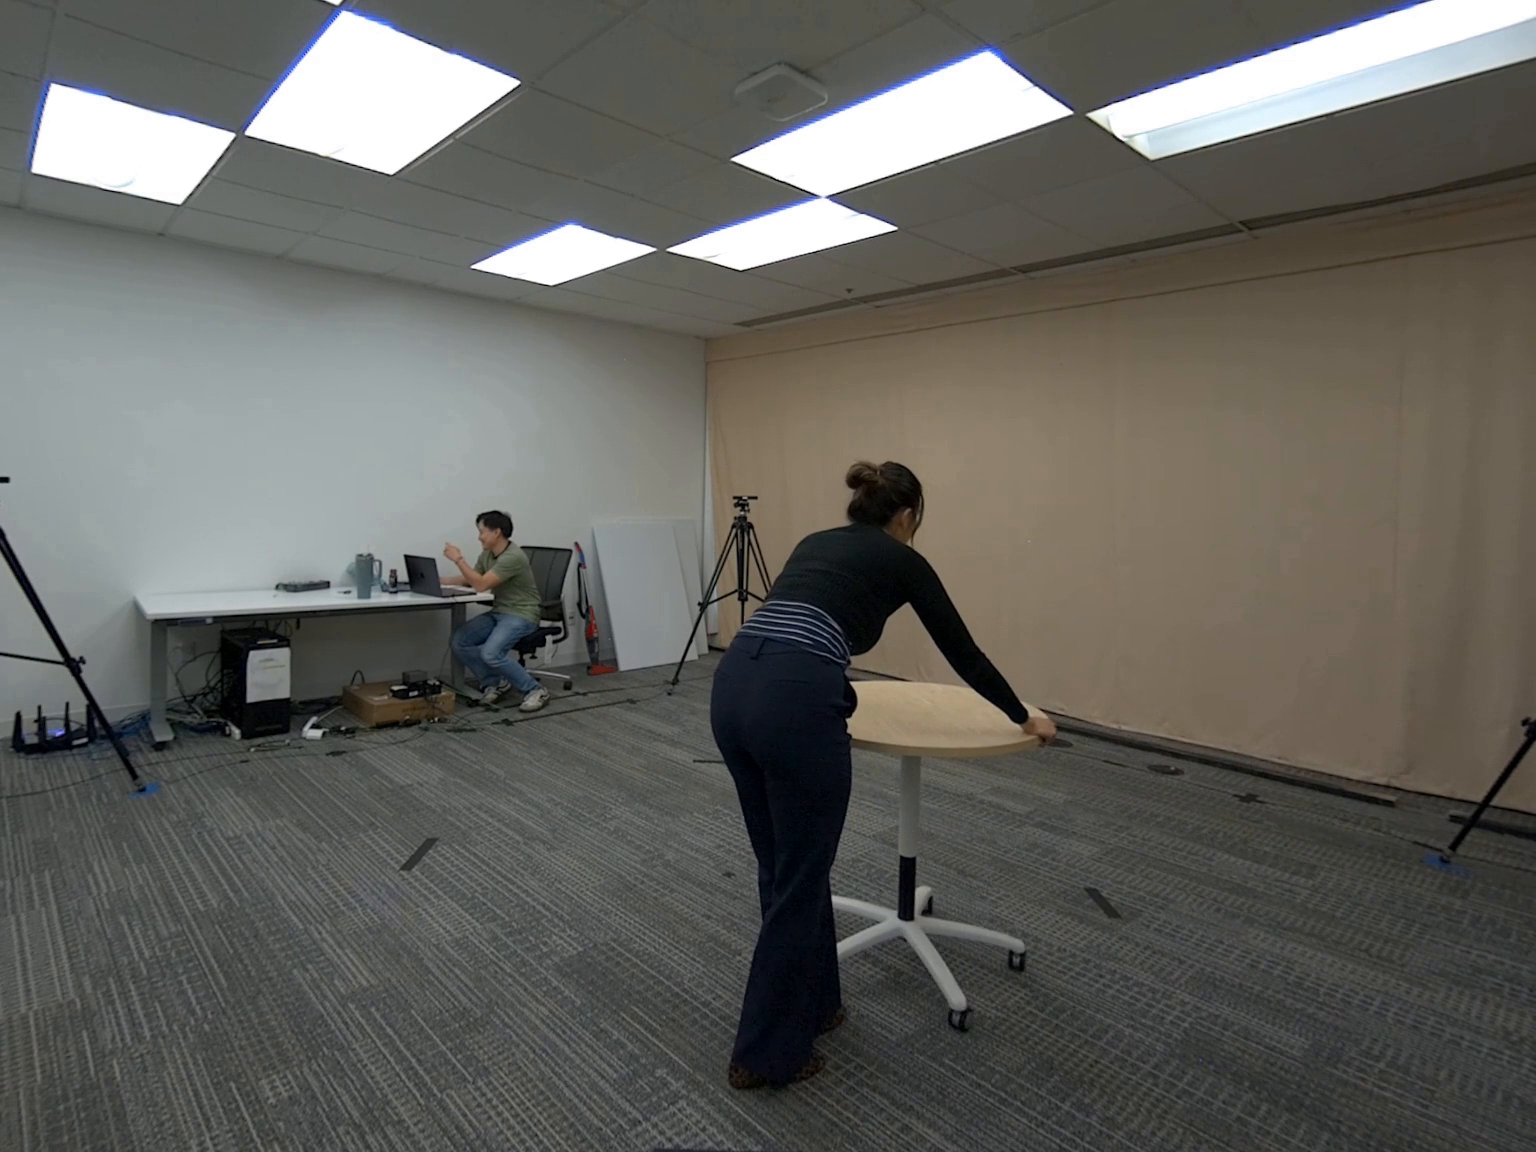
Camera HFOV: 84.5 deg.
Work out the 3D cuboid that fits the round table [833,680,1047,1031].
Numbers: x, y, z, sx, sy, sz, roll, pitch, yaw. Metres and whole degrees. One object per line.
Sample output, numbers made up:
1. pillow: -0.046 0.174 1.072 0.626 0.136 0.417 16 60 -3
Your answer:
1. round table: 0.418 0.788 2.529 0.763 0.791 0.767 1 4 -1
